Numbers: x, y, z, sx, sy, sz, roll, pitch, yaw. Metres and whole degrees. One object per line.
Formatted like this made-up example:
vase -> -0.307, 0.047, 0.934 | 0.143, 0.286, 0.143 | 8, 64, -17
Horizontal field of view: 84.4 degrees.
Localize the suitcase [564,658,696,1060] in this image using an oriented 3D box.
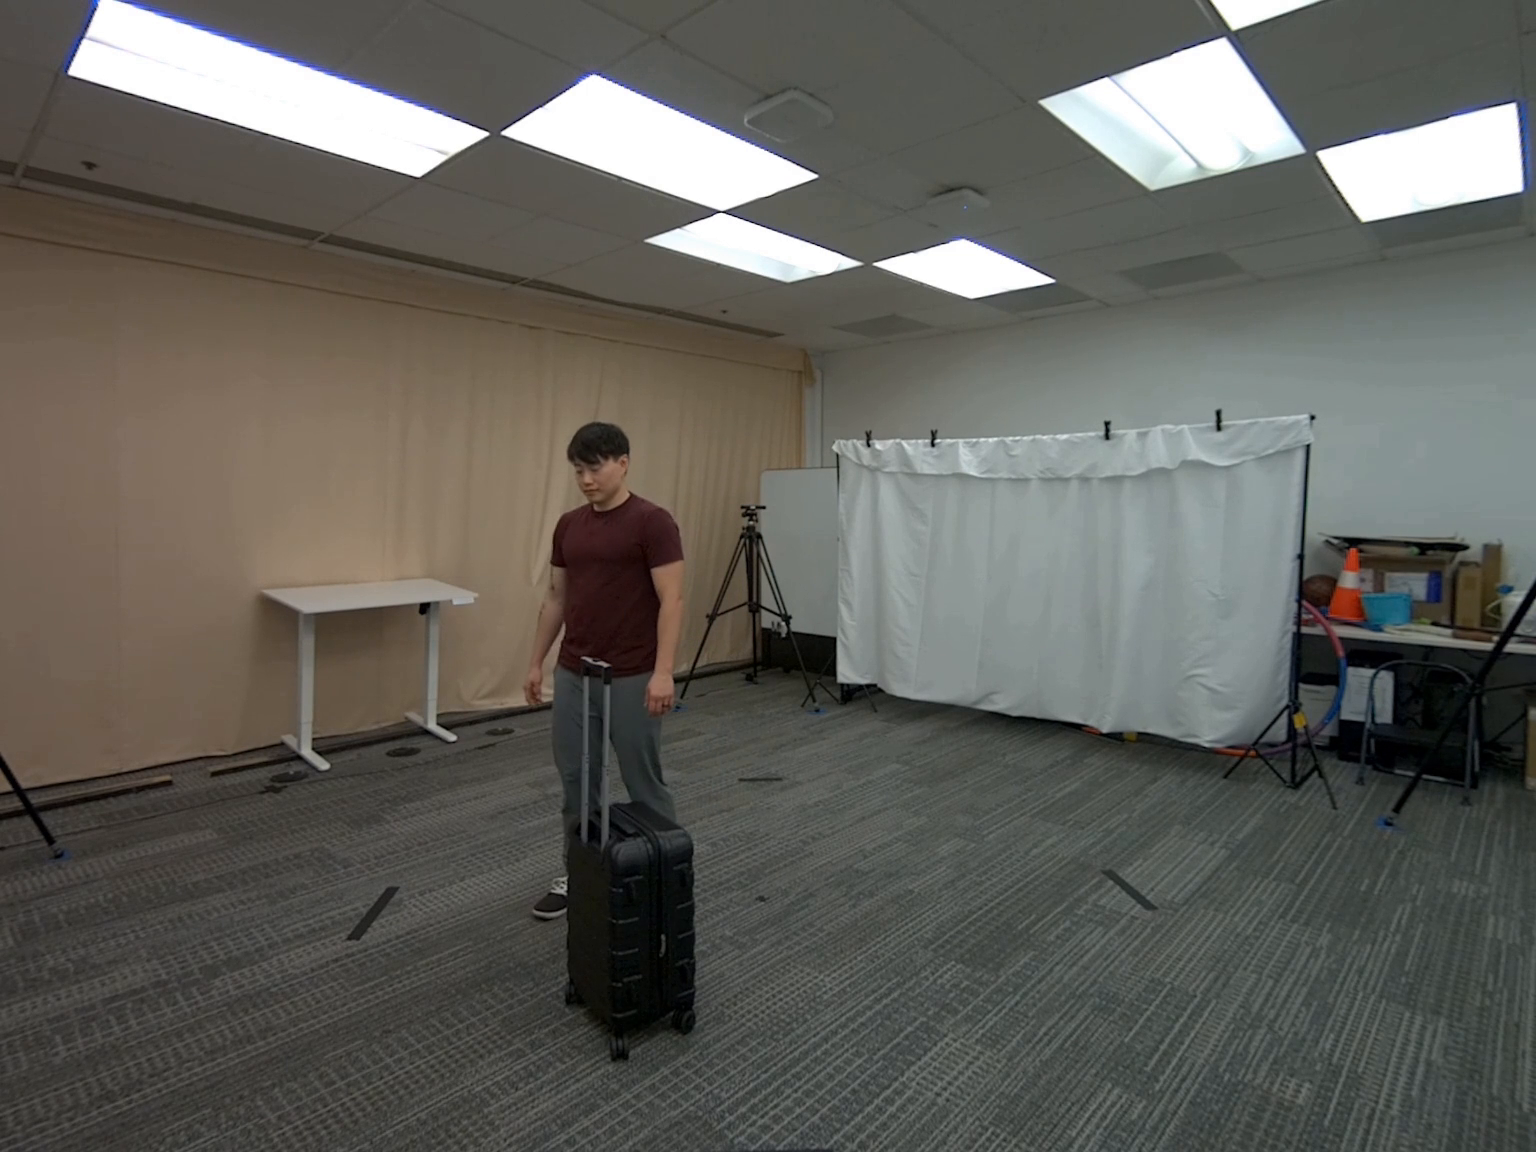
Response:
suitcase -> -0.372, 0.730, 2.300 | 0.250, 0.978, 0.395 | 1, 2, -32
